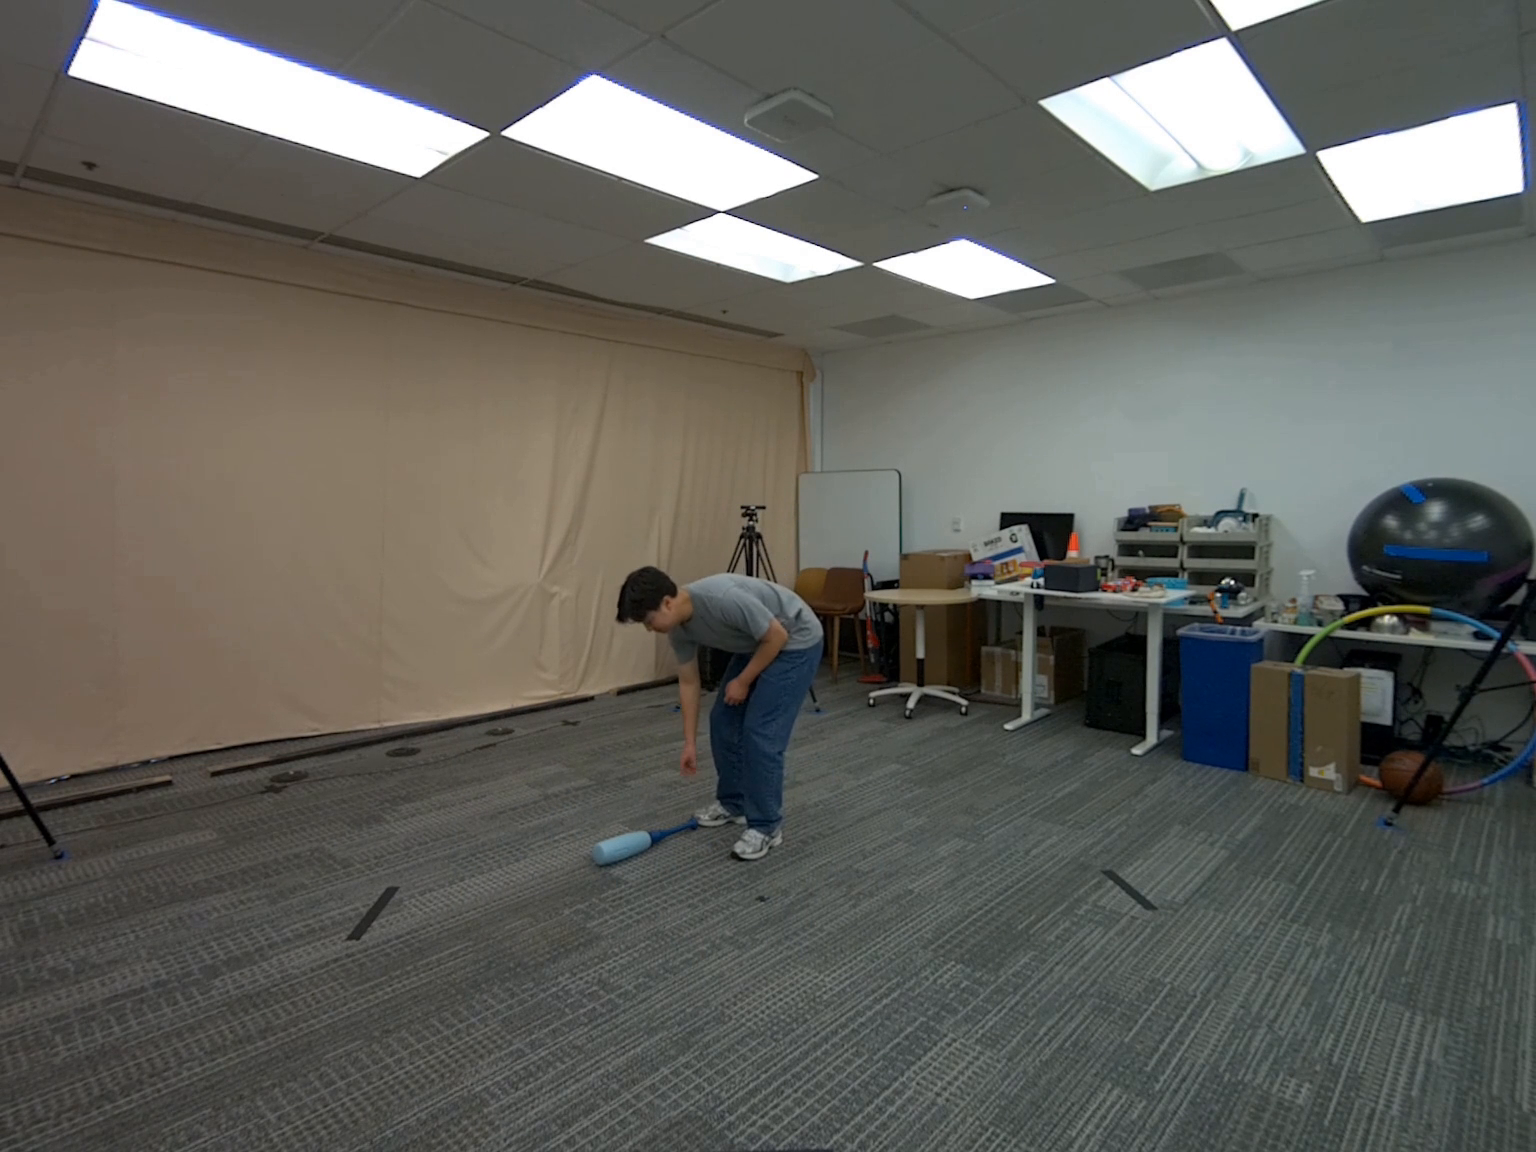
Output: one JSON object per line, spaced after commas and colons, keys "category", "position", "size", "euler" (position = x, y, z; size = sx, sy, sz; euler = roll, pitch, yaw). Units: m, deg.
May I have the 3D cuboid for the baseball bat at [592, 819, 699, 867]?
{"category": "baseball bat", "position": [-0.487, 1.076, 3.441], "size": [0.092, 0.089, 0.525], "euler": [3, 2, 41]}
